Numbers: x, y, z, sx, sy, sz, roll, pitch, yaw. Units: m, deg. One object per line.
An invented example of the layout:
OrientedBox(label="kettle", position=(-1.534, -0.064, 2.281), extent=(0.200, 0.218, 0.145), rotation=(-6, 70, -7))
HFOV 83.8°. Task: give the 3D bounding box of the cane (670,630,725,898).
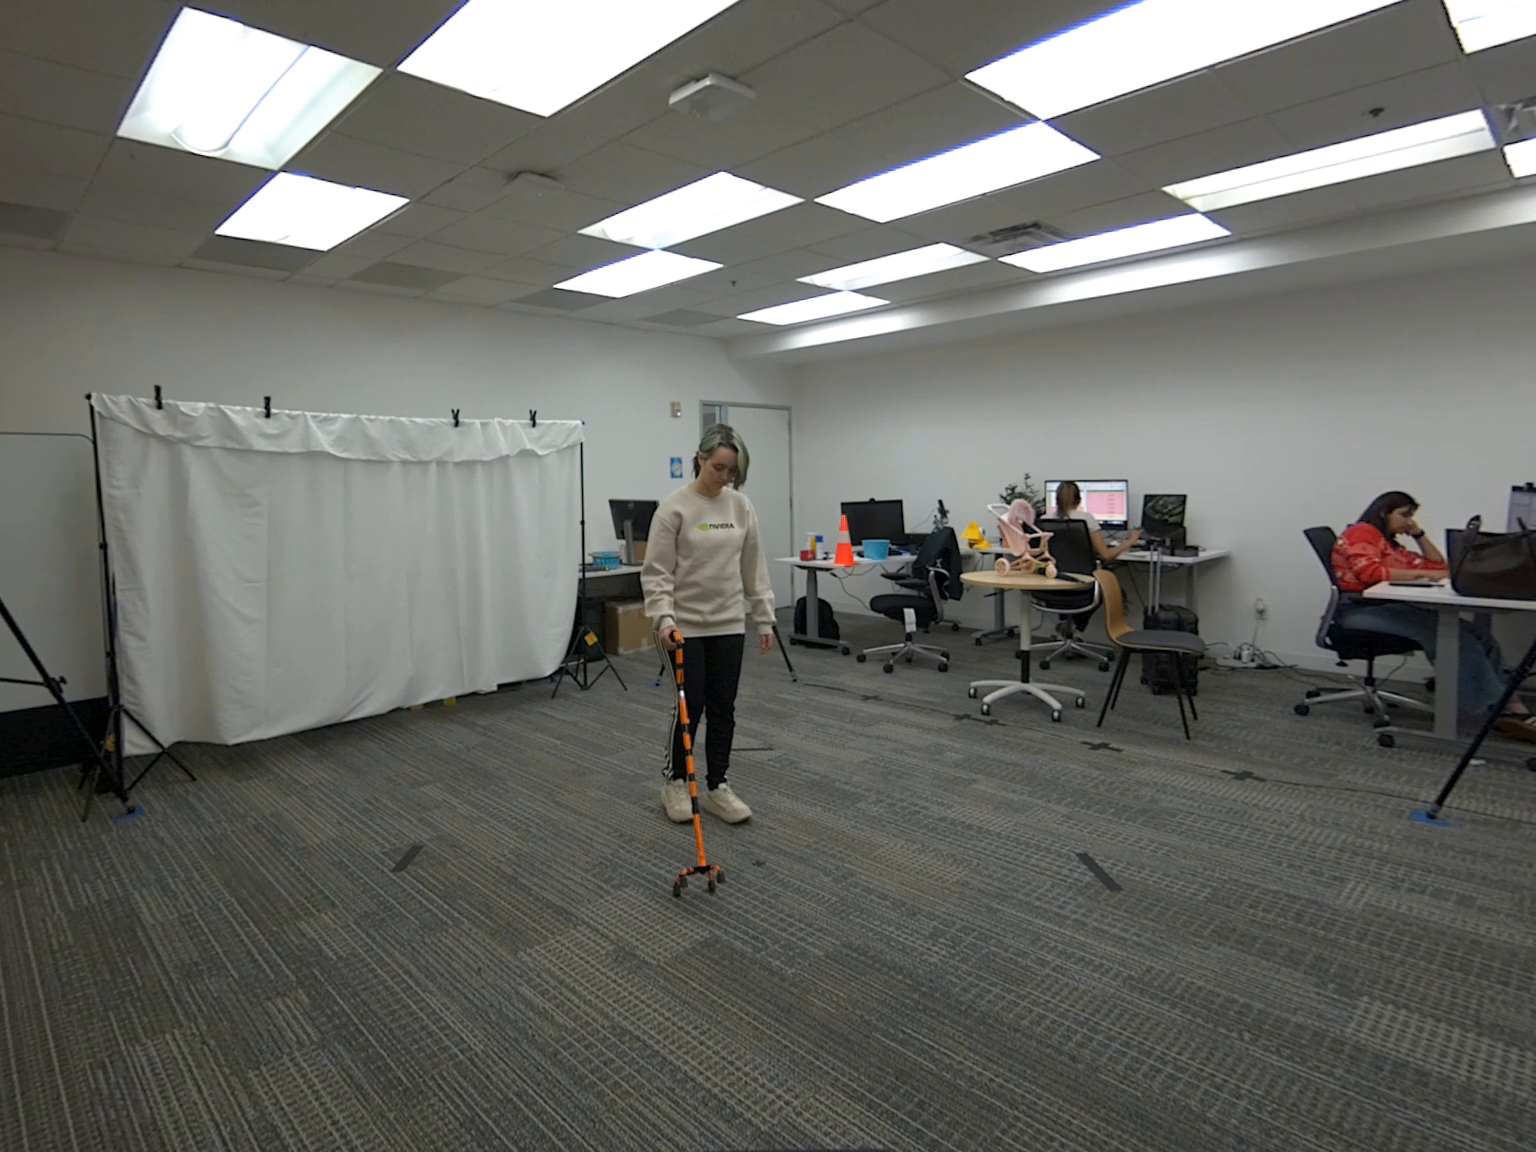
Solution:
OrientedBox(label="cane", position=(-0.301, 0.627, 3.027), extent=(0.150, 0.931, 0.203), rotation=(-3, -27, -12))
